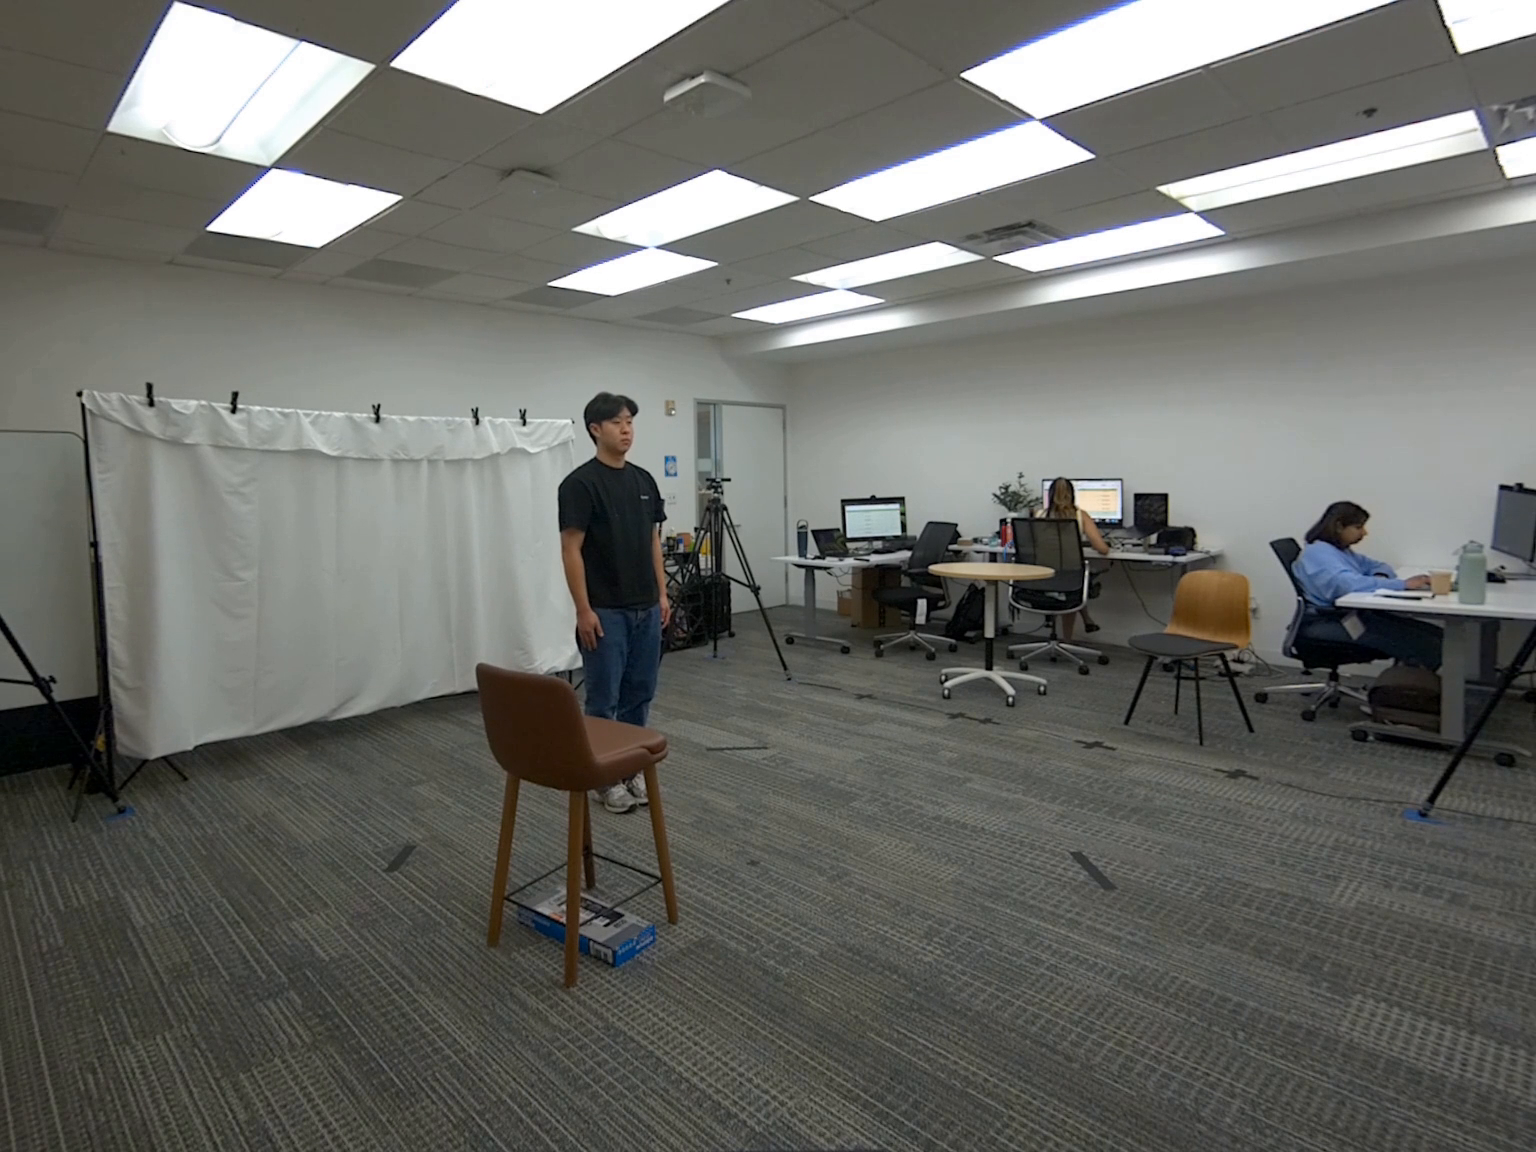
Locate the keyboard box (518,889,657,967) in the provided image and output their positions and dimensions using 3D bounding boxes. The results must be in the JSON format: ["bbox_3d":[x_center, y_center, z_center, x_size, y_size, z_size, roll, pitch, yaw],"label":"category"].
[{"bbox_3d":[-0.571,1.082,2.651,0.450,0.059,0.172,4,8,37],"label":"keyboard box"}]
